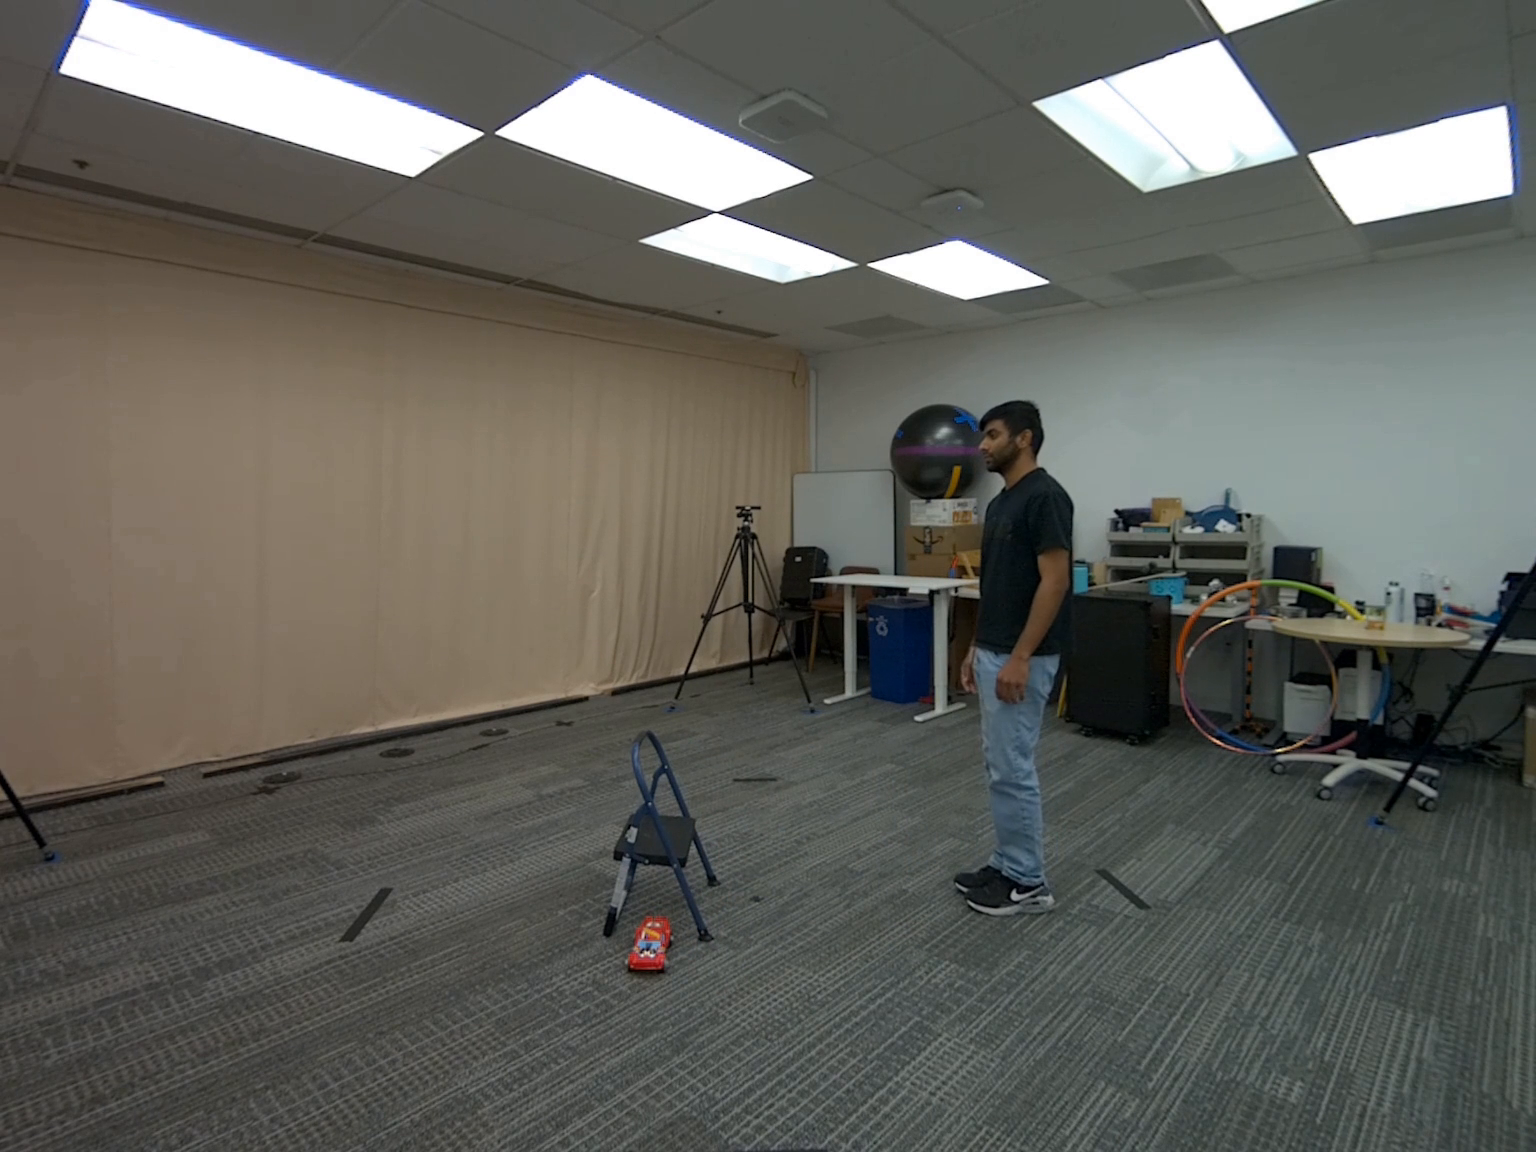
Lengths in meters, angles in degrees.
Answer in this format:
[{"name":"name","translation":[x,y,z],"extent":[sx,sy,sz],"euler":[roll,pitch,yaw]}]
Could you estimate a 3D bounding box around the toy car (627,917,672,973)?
[{"name":"toy car","translation":[-0.369,1.158,2.605],"extent":[0.131,0.082,0.256],"euler":[2,18,4]}]
